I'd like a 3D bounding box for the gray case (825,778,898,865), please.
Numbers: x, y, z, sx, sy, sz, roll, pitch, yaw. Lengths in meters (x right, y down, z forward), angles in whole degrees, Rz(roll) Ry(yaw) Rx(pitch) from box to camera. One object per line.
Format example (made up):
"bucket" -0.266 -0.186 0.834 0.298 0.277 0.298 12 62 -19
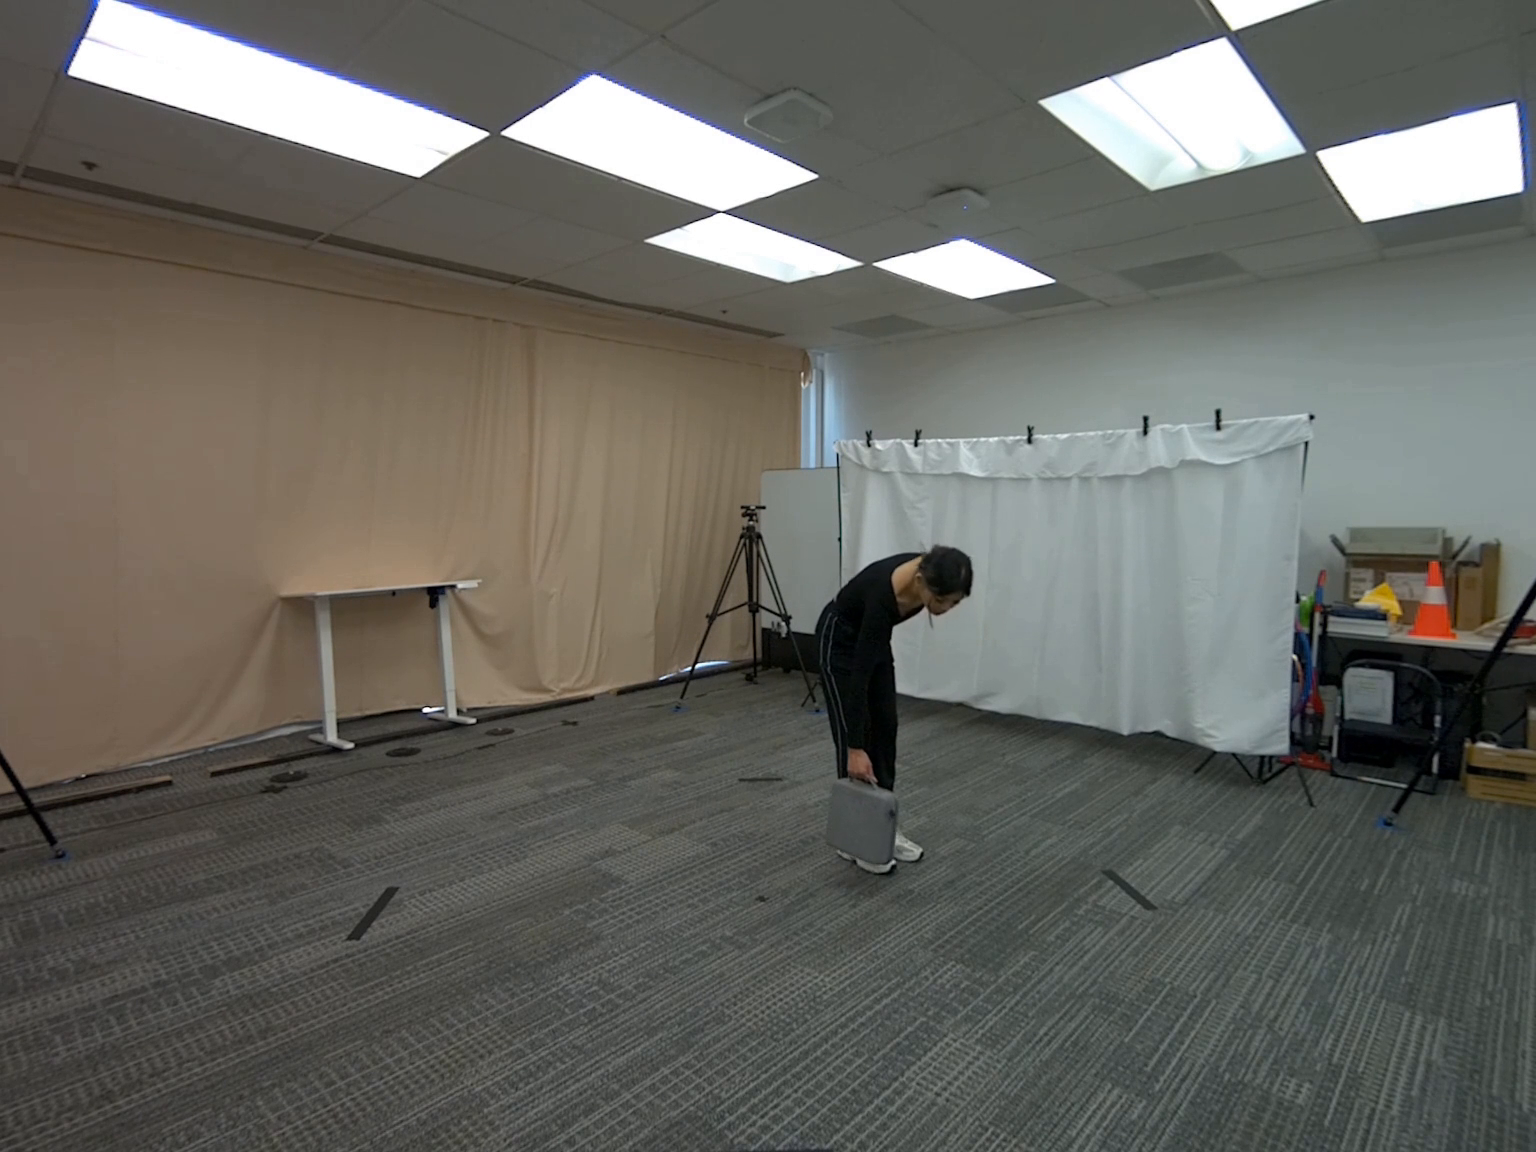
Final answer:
"gray case" 0.344 0.877 3.052 0.266 0.260 0.101 6 1 44
